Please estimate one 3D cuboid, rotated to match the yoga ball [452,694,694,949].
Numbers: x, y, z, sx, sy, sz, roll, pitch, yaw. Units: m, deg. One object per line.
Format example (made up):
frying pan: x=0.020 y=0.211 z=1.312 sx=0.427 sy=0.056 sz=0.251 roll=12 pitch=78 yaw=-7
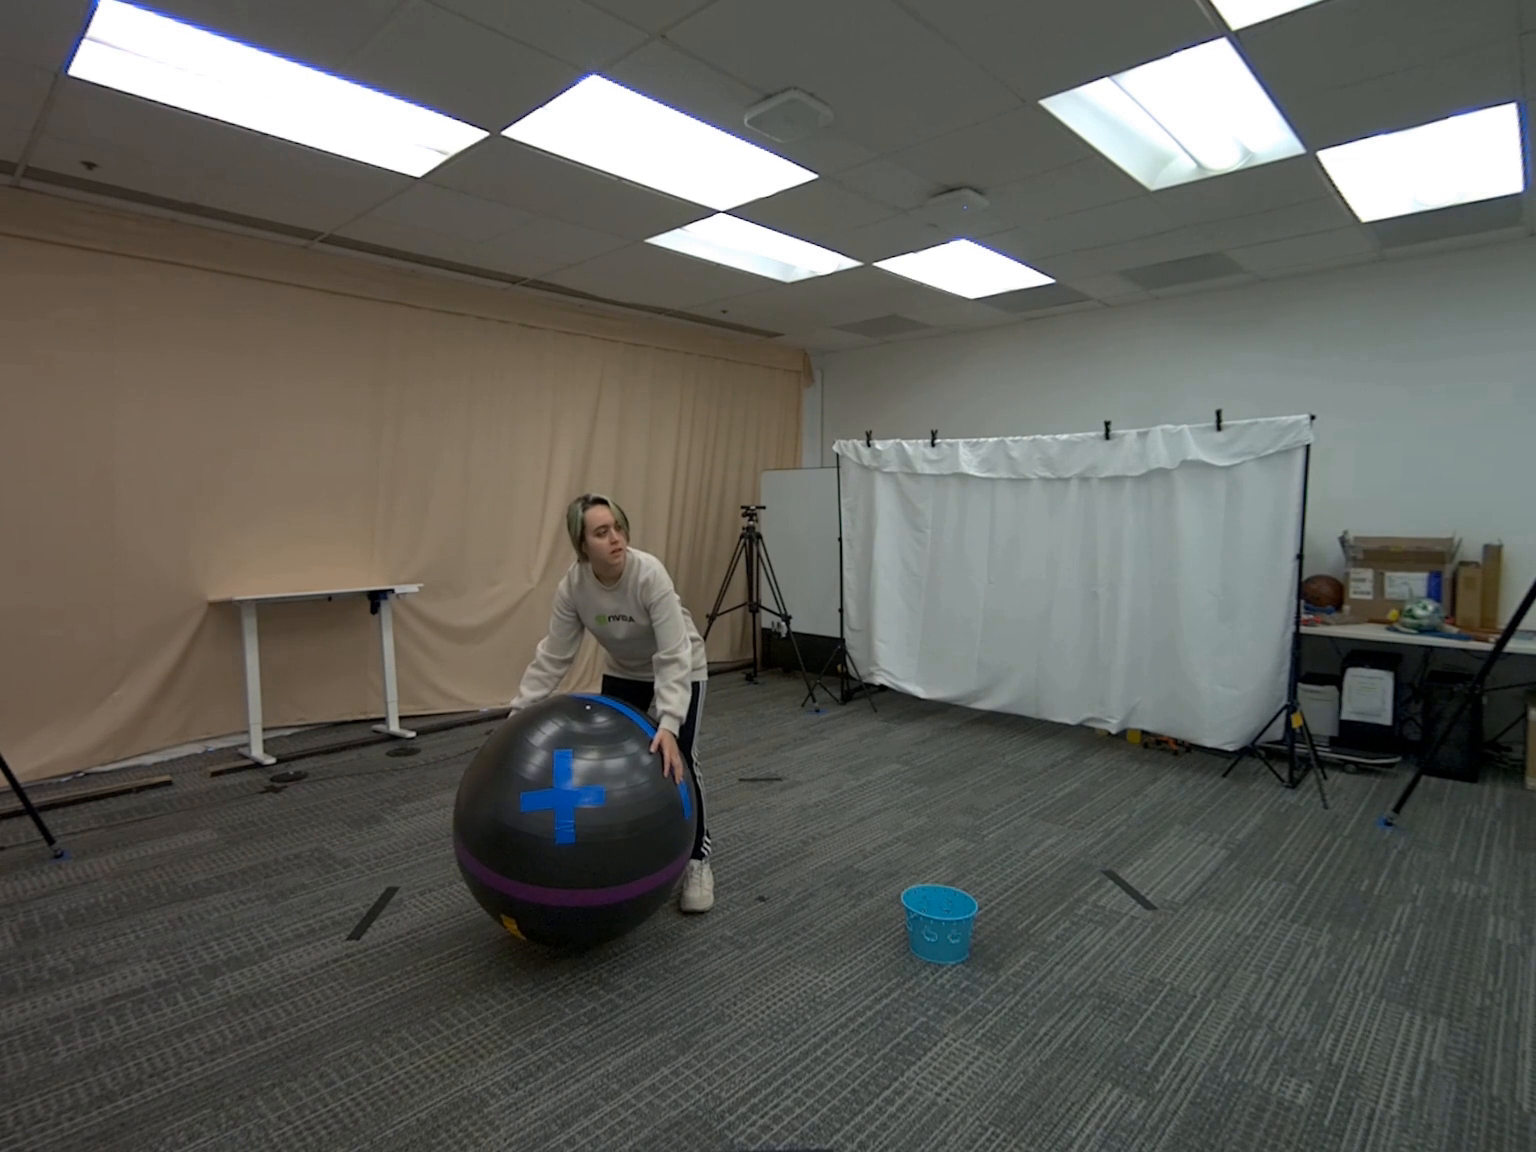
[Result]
yoga ball: x=-0.602 y=0.751 z=2.649 sx=0.757 sy=0.756 sz=0.760 roll=0 pitch=4 yaw=-2
